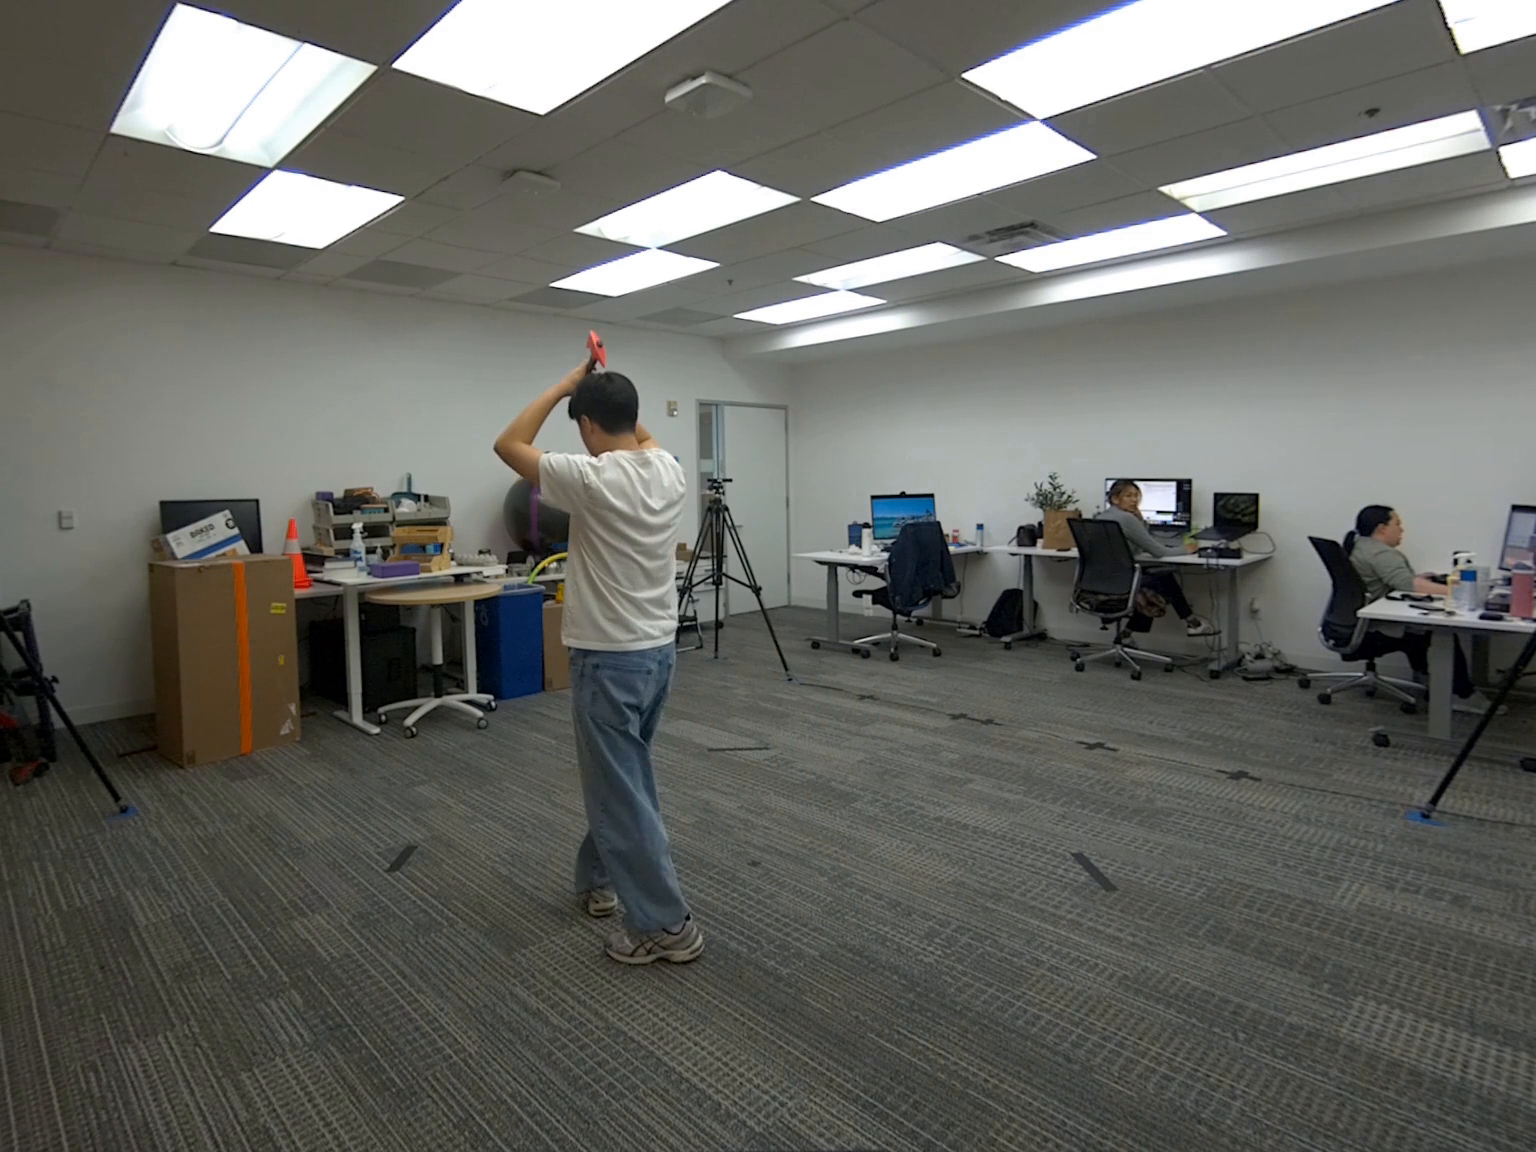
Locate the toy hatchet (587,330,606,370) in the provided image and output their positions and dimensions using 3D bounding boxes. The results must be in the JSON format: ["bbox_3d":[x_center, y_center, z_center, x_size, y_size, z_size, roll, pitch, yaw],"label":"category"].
[{"bbox_3d":[-0.556,-0.667,2.636,0.029,0.131,0.274,-12,-2,-31],"label":"toy hatchet"}]
